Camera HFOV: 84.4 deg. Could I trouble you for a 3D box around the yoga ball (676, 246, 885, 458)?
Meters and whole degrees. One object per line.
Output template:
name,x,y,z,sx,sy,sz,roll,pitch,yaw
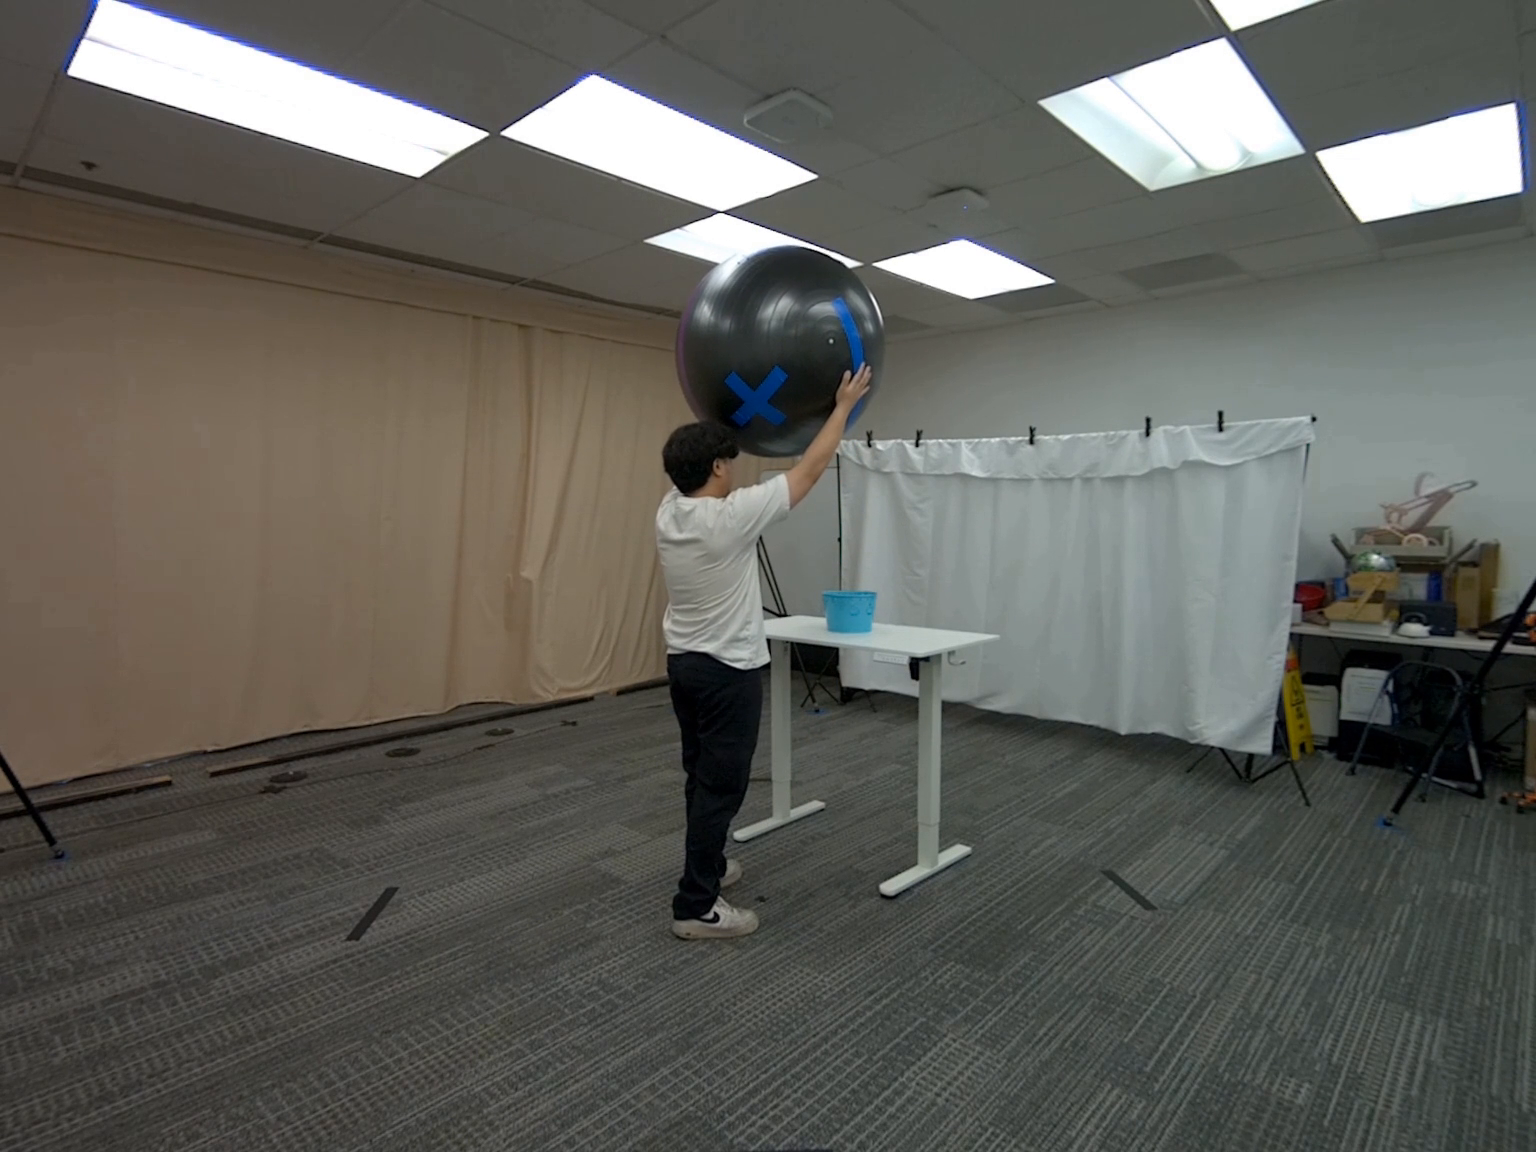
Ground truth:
yoga ball,0.050,-0.802,3.062,0.757,0.756,0.760,0,4,-2
